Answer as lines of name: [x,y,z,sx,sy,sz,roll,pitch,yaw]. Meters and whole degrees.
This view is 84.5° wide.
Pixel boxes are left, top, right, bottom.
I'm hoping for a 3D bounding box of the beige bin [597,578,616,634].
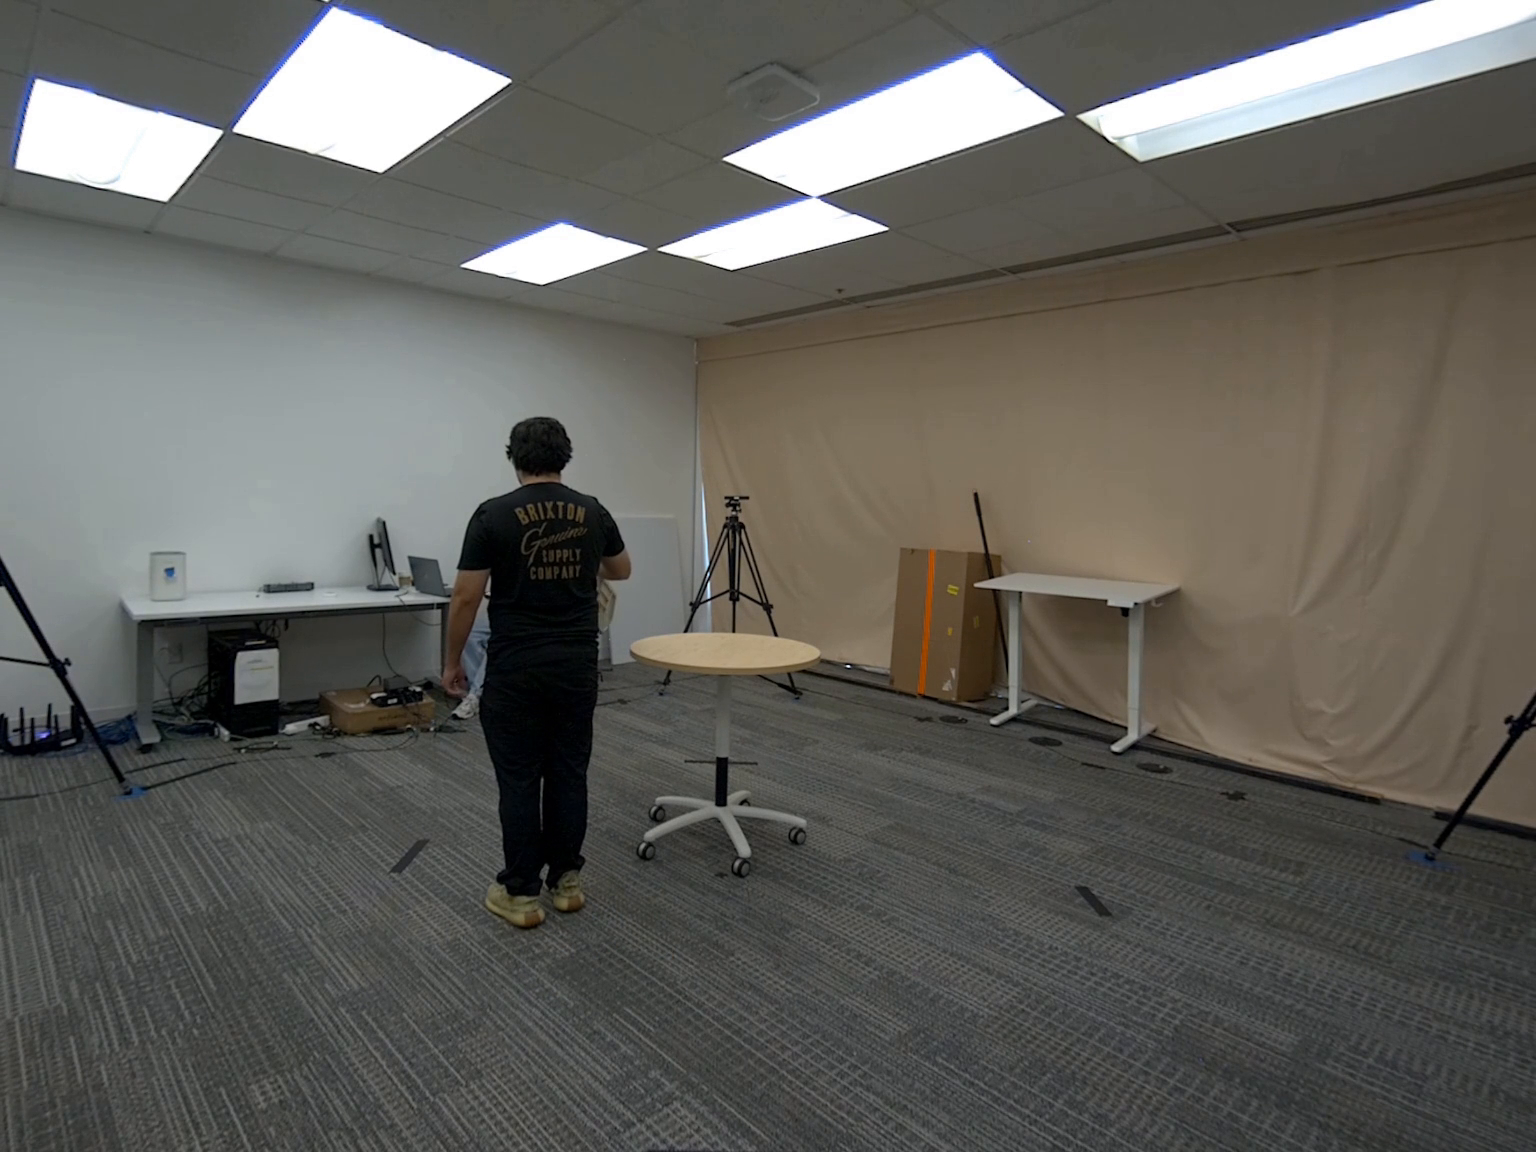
beige bin: [-0.857,0.076,3.362,0.425,0.191,0.371,10,-16,7]
